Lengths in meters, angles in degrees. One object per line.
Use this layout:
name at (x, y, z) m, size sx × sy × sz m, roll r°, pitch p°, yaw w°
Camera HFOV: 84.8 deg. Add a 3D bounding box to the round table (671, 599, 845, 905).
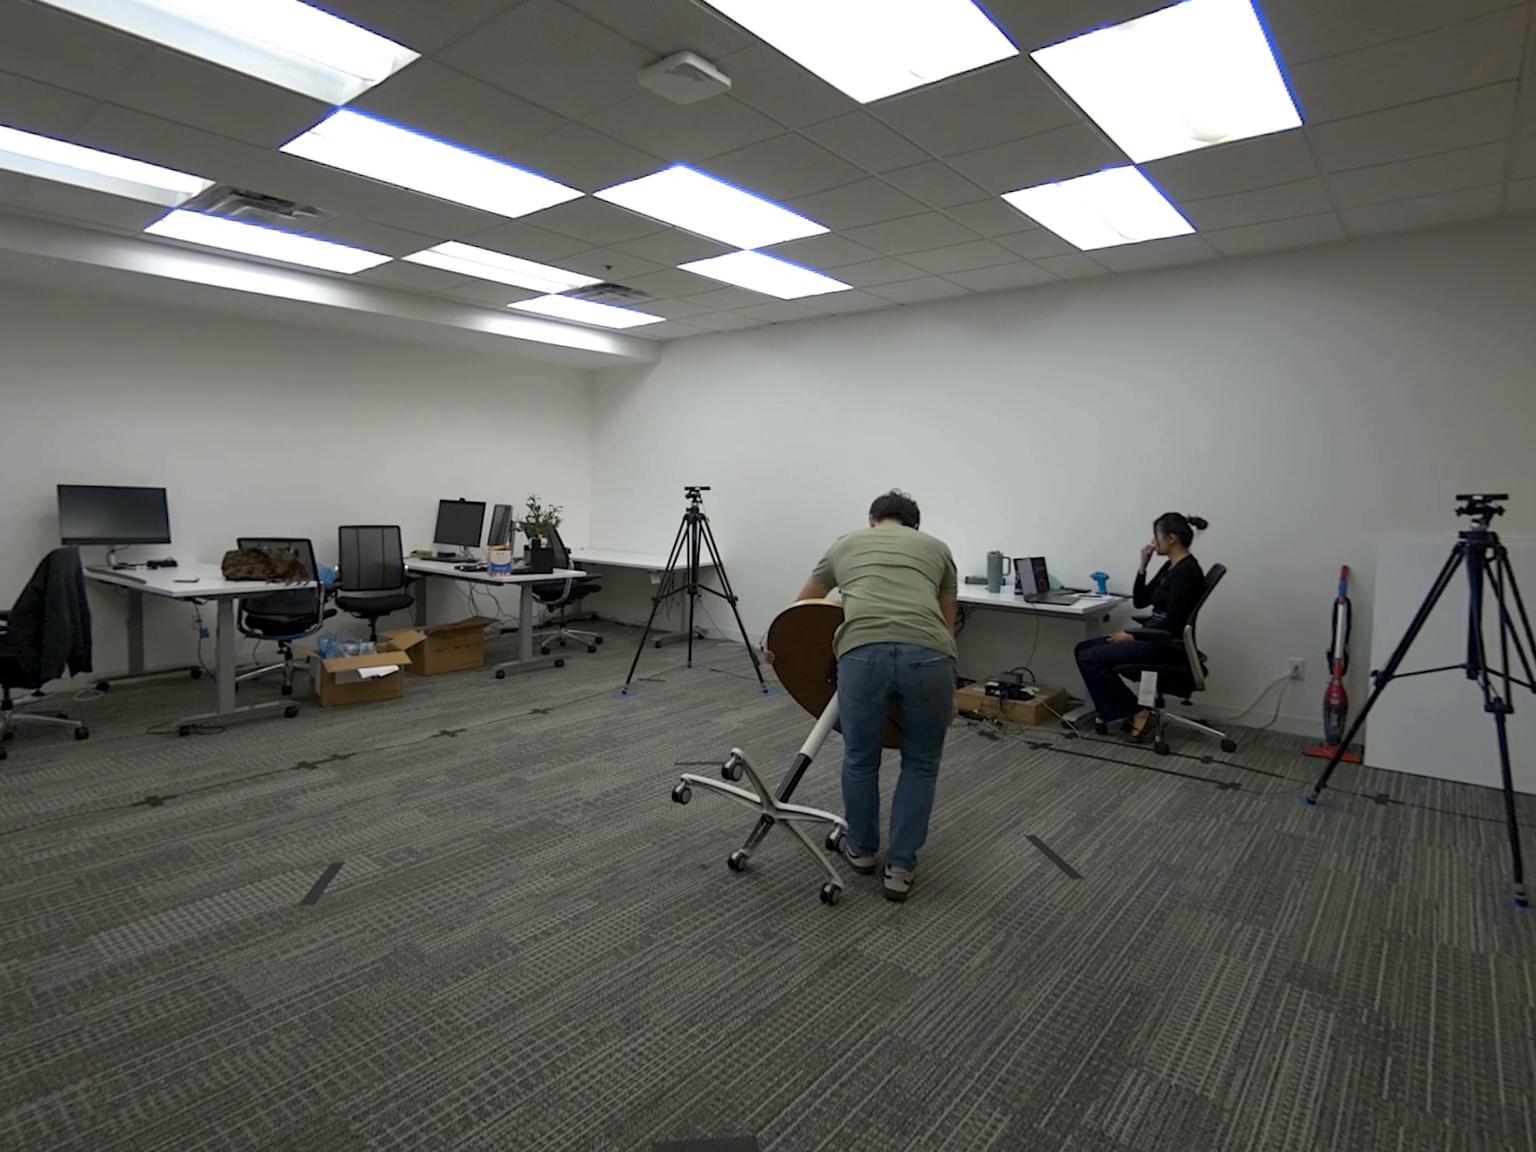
round table at (0.136, 0.631, 3.094) m, size 0.789 × 0.739 × 0.795 m, roll 4°, pitch 39°, yaw 36°
